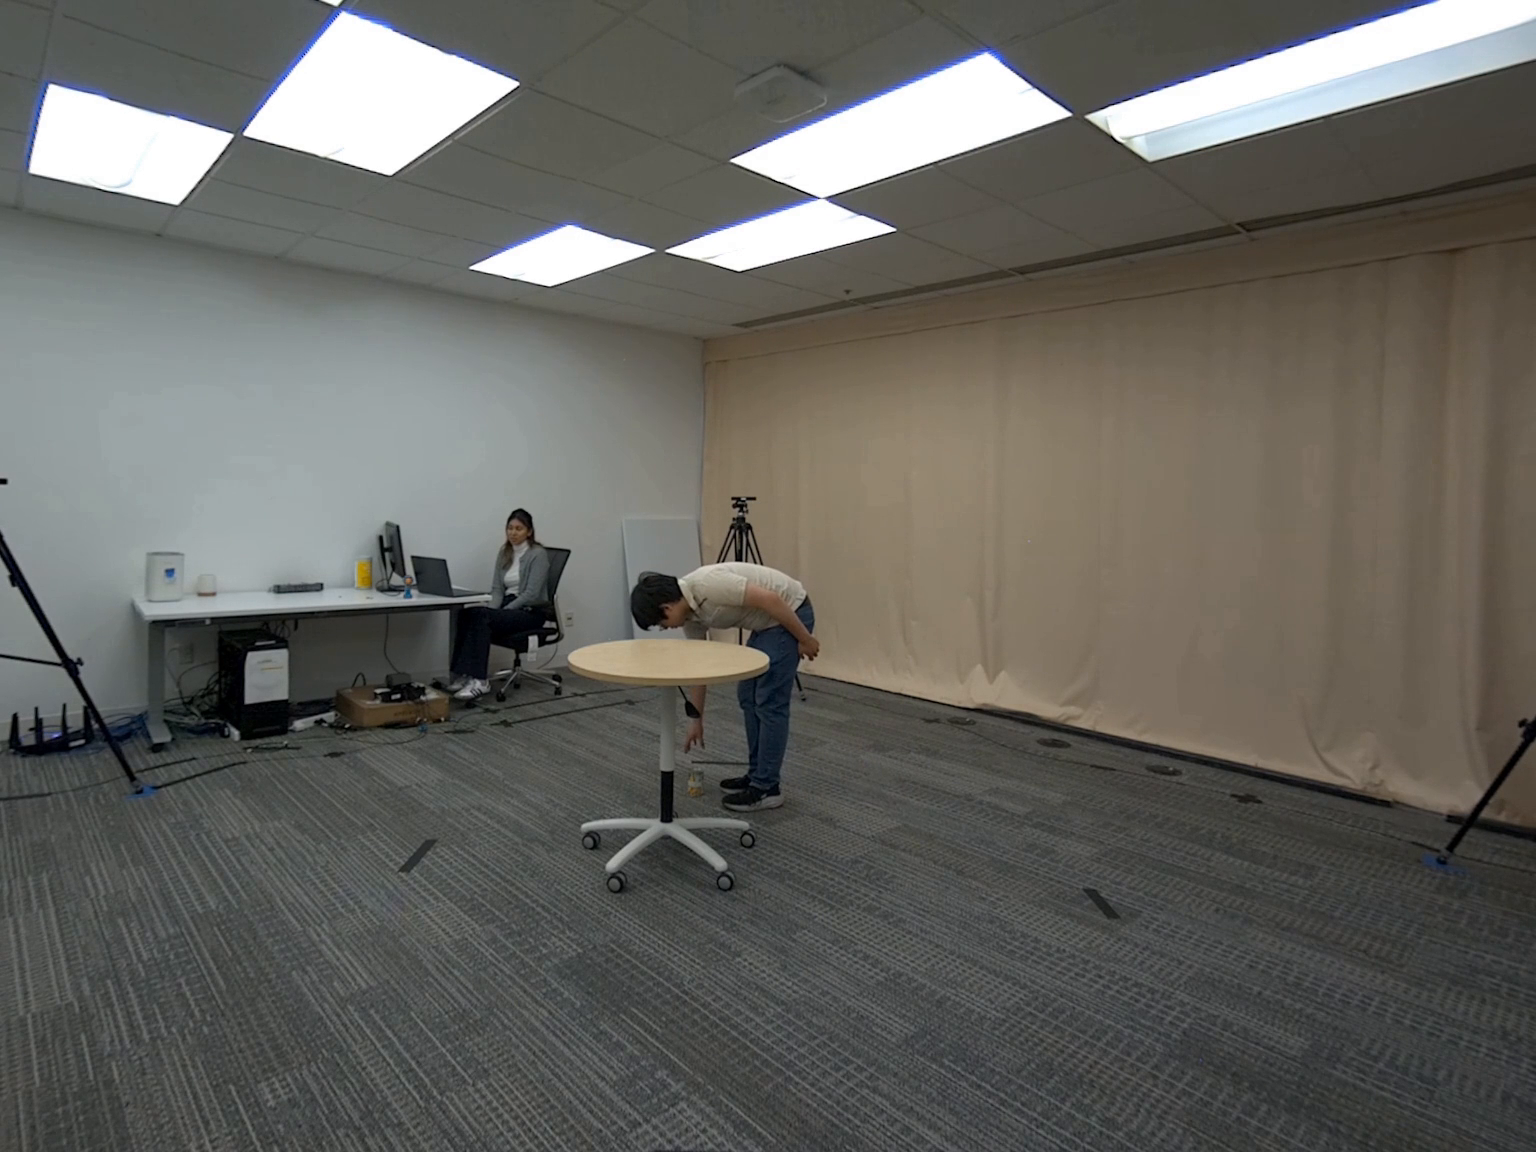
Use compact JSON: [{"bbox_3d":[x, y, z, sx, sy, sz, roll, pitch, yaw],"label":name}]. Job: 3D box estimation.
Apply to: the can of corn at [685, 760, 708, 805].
[{"bbox_3d":[-0.344,0.965,3.966,0.074,0.111,0.074,2,1,-1],"label":"can of corn"}]
